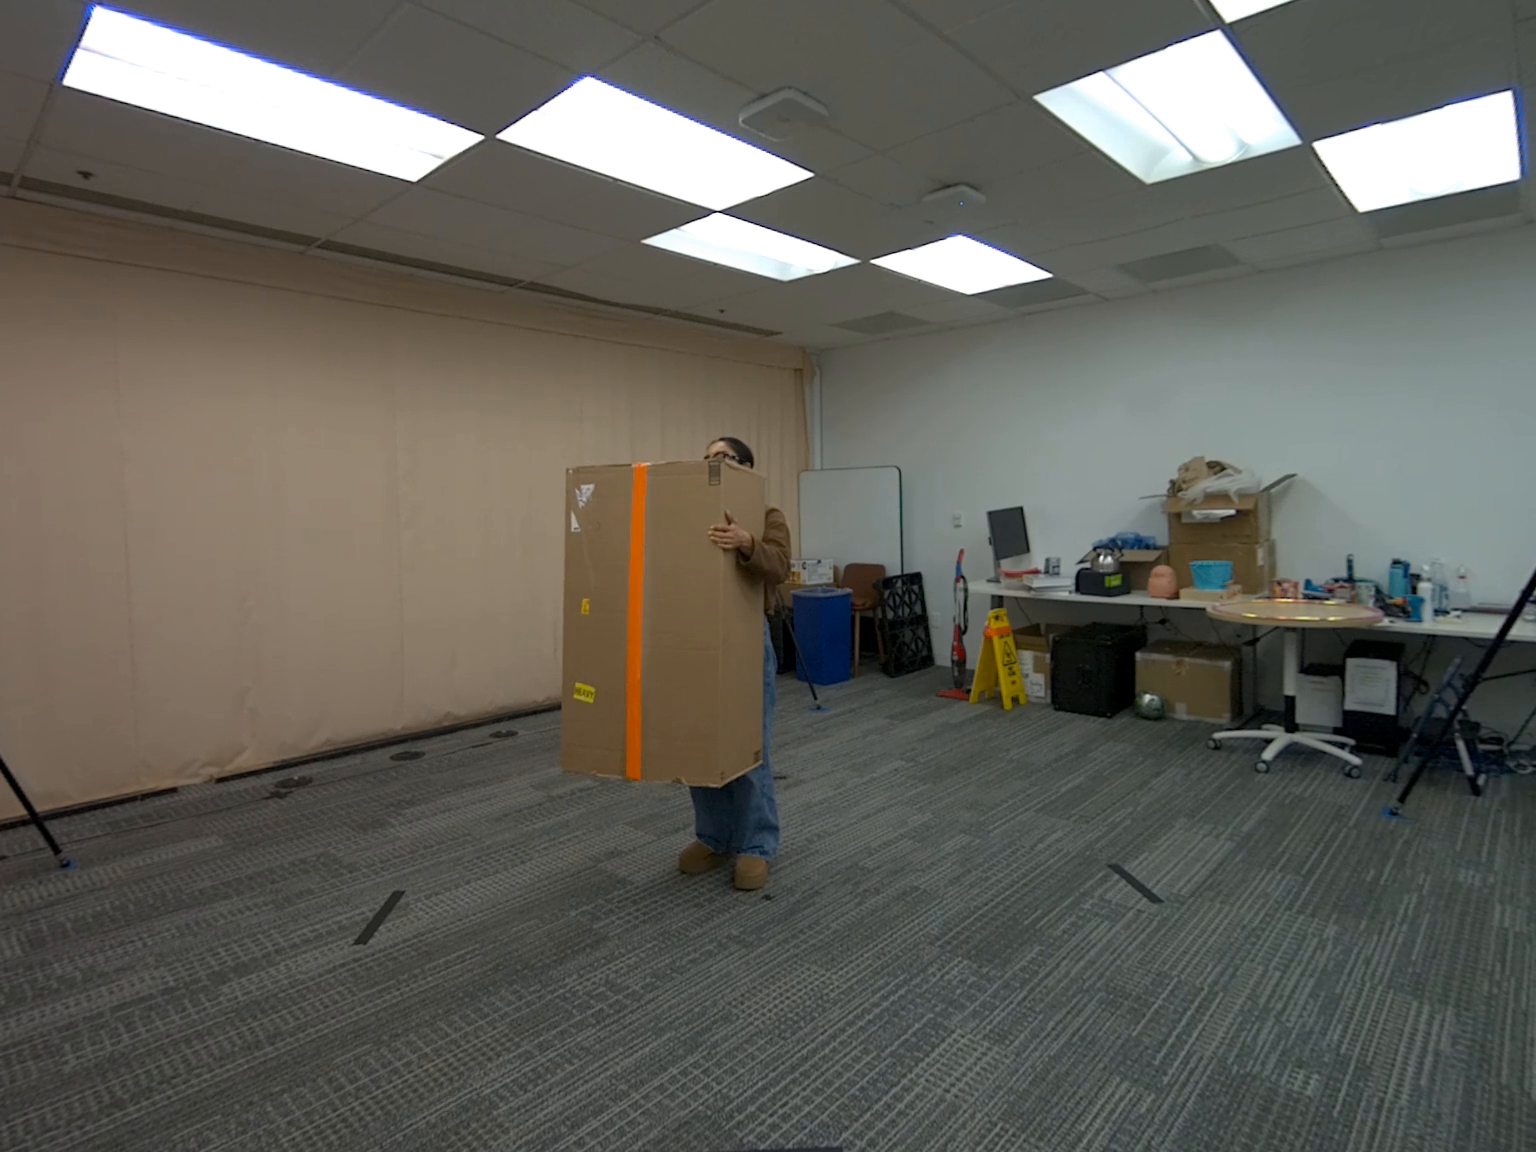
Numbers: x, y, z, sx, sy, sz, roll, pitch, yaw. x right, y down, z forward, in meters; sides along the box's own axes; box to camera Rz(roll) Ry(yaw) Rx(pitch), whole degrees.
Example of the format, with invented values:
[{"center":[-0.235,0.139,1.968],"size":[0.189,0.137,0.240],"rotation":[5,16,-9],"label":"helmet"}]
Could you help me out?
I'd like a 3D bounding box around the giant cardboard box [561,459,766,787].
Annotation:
[{"center":[-0.355,0.147,2.905],"size":[0.590,1.028,0.416],"rotation":[-1,-3,22],"label":"giant cardboard box"}]
